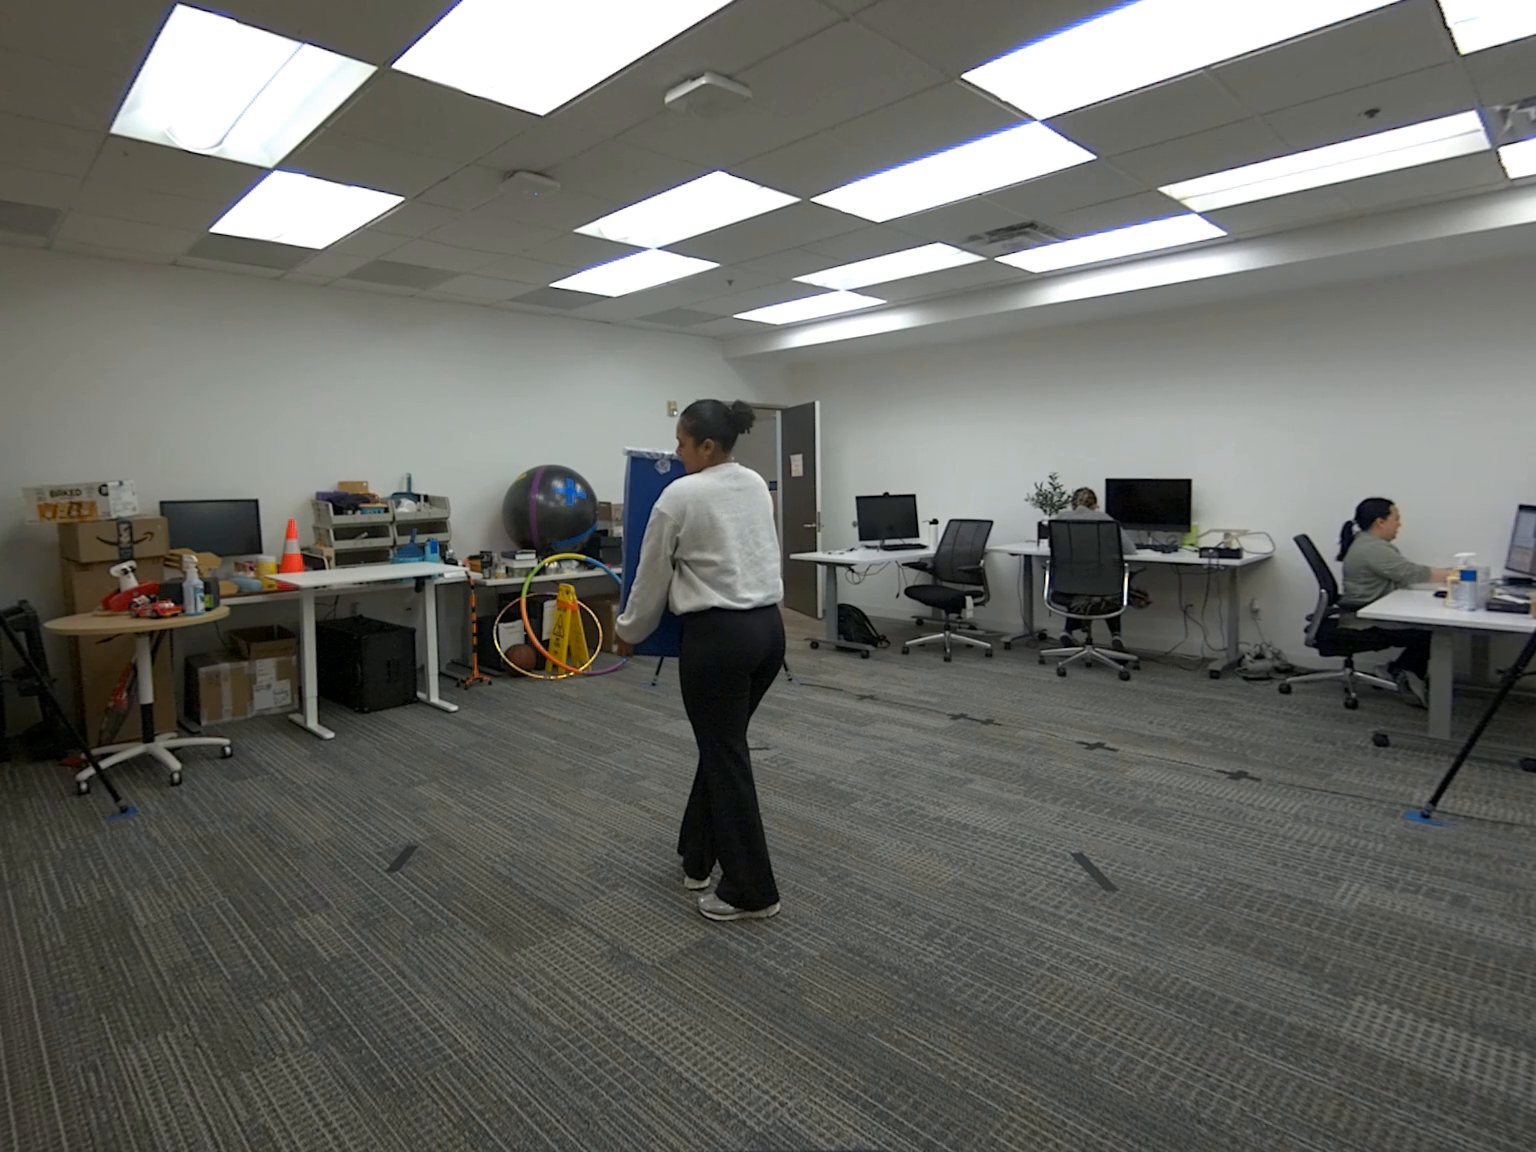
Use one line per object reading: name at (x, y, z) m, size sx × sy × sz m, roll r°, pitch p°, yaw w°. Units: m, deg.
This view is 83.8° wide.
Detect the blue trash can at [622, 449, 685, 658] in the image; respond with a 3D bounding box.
blue trash can at (-0.348, -0.100, 3.102) m, size 0.370 × 0.710 × 0.384 m, roll 2°, pitch 7°, yaw -12°
